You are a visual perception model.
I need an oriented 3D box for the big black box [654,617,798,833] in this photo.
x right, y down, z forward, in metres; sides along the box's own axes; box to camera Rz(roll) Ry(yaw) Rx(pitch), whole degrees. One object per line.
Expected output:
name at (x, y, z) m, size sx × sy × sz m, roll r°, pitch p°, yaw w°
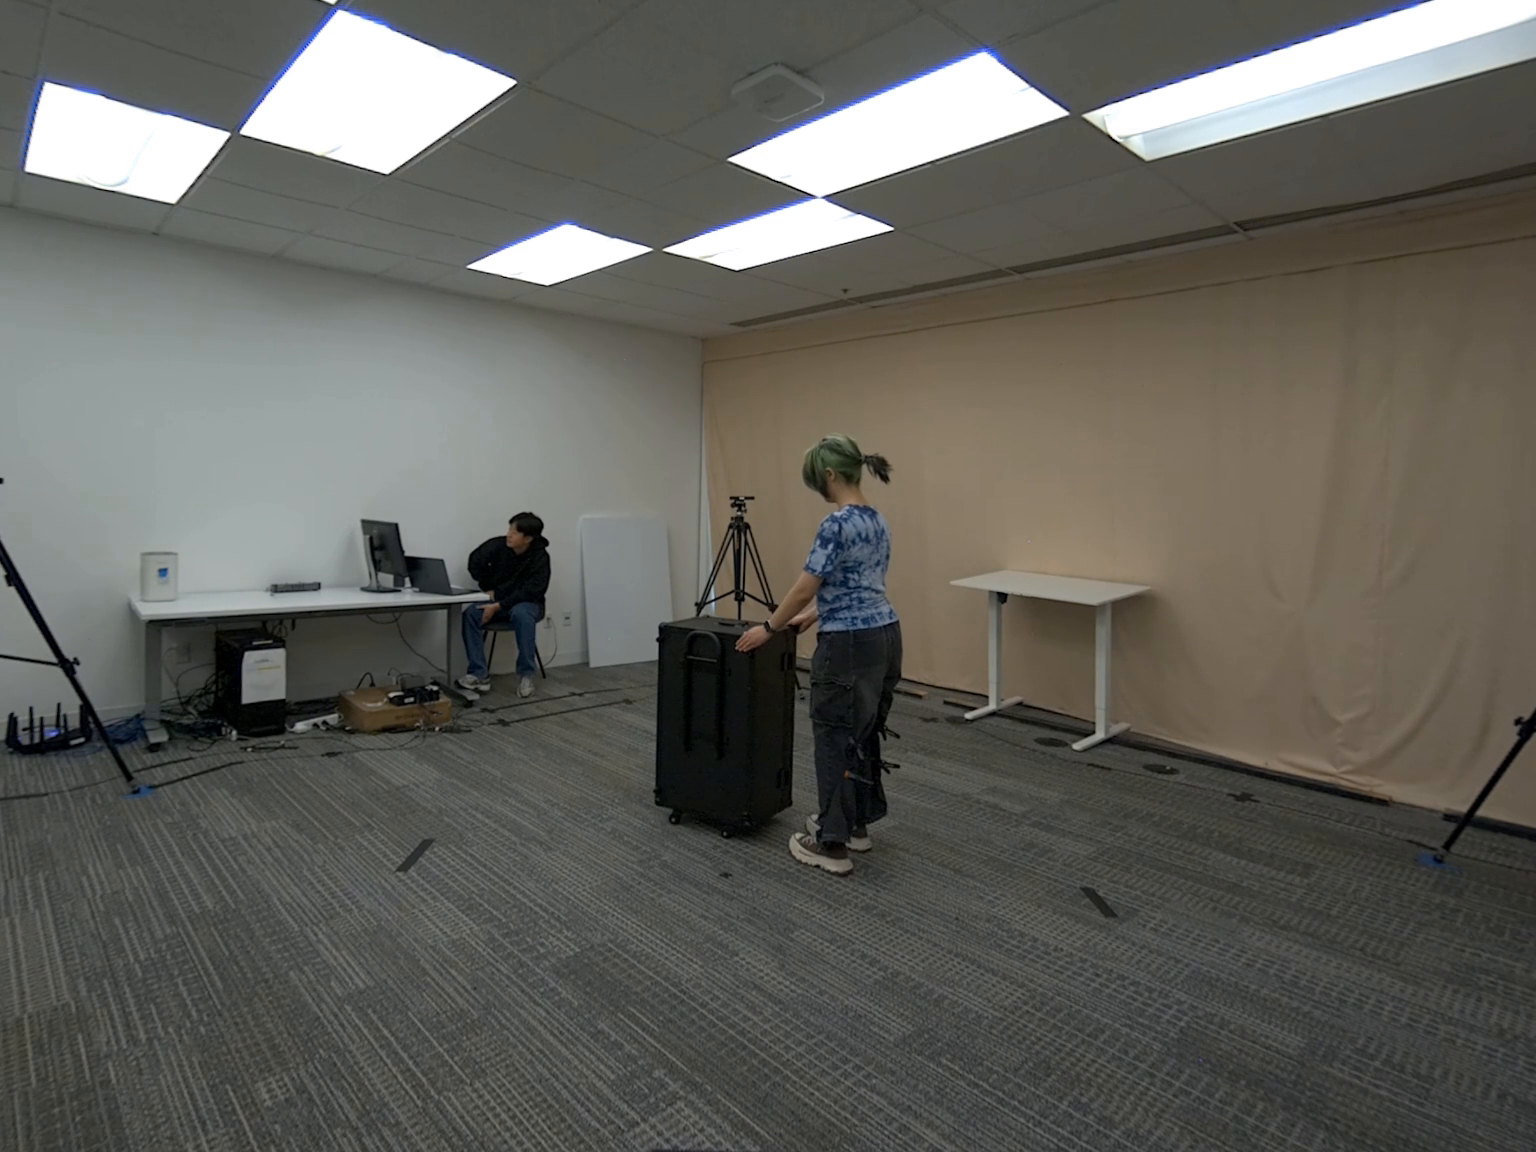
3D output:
big black box at (-0.190, 0.641, 3.598) m, size 0.533 × 0.859 × 0.388 m, roll 5°, pitch 5°, yaw 31°
